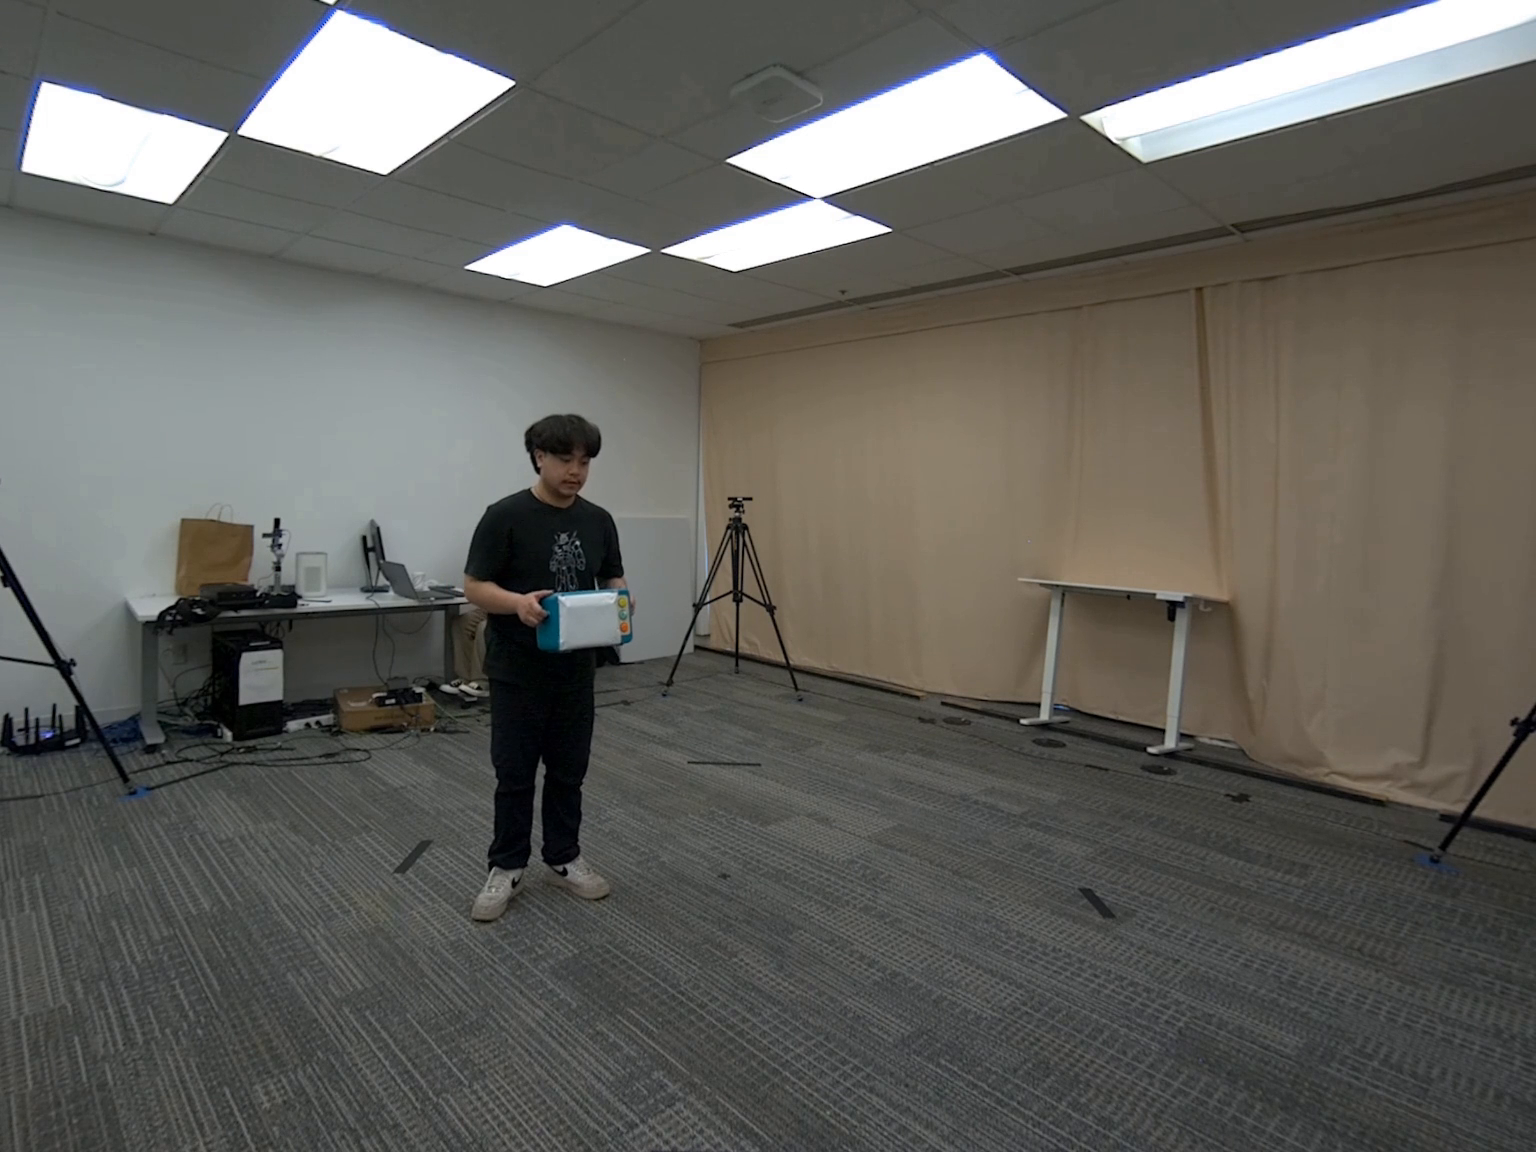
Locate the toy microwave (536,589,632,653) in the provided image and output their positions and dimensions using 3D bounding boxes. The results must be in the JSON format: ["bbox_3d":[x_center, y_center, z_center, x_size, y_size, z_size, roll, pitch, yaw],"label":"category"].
[{"bbox_3d":[-0.583,0.141,2.645,0.280,0.184,0.155,-2,-1,-41],"label":"toy microwave"}]
